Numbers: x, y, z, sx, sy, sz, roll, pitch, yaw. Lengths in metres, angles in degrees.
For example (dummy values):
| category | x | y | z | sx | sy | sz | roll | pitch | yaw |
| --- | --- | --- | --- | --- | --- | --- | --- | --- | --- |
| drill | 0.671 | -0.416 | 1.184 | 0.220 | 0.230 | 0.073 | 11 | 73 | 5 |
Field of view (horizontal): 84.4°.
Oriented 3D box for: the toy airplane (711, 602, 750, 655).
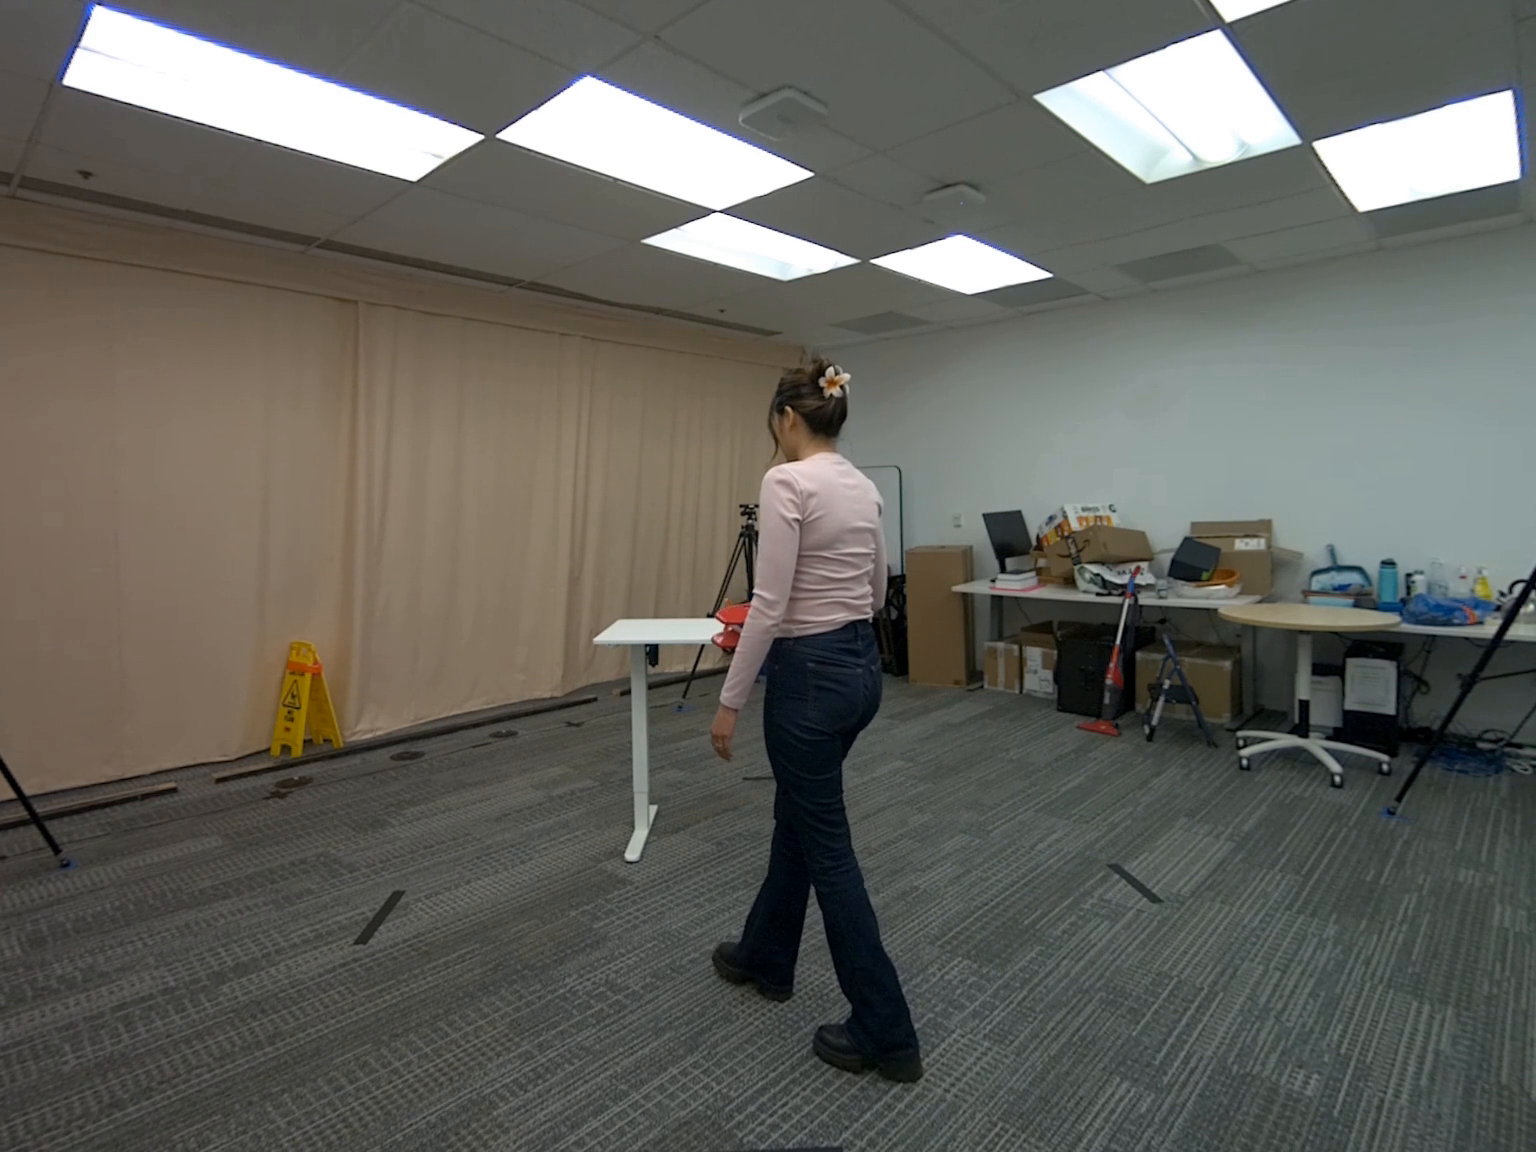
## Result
| category | x | y | z | sx | sy | sz | roll | pitch | yaw |
| --- | --- | --- | --- | --- | --- | --- | --- | --- | --- |
| toy airplane | -0.012 | 0.173 | 2.547 | 0.265 | 0.155 | 0.246 | 4 | 9 | 22 |
